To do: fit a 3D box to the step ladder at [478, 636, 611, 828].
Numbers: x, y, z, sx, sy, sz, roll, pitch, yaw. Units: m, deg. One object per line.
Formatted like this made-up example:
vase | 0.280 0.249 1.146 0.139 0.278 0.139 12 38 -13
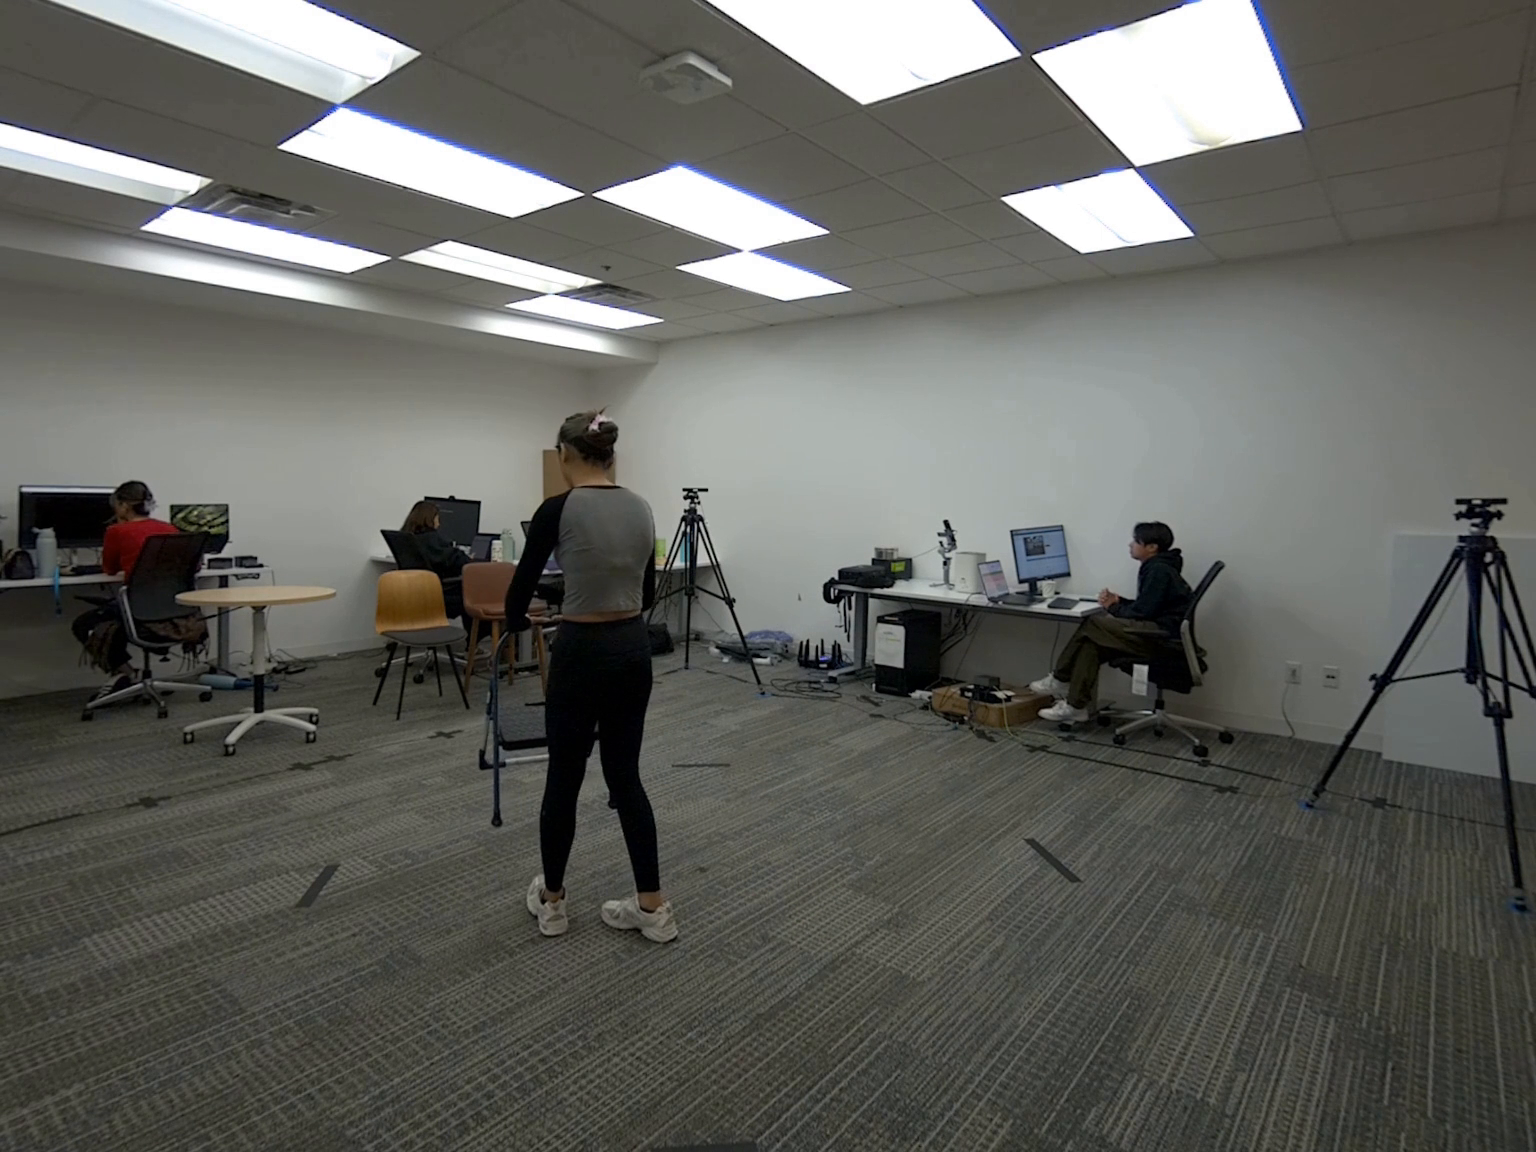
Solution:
step ladder | -0.751 0.459 2.904 0.419 0.598 0.363 -1 18 -28
